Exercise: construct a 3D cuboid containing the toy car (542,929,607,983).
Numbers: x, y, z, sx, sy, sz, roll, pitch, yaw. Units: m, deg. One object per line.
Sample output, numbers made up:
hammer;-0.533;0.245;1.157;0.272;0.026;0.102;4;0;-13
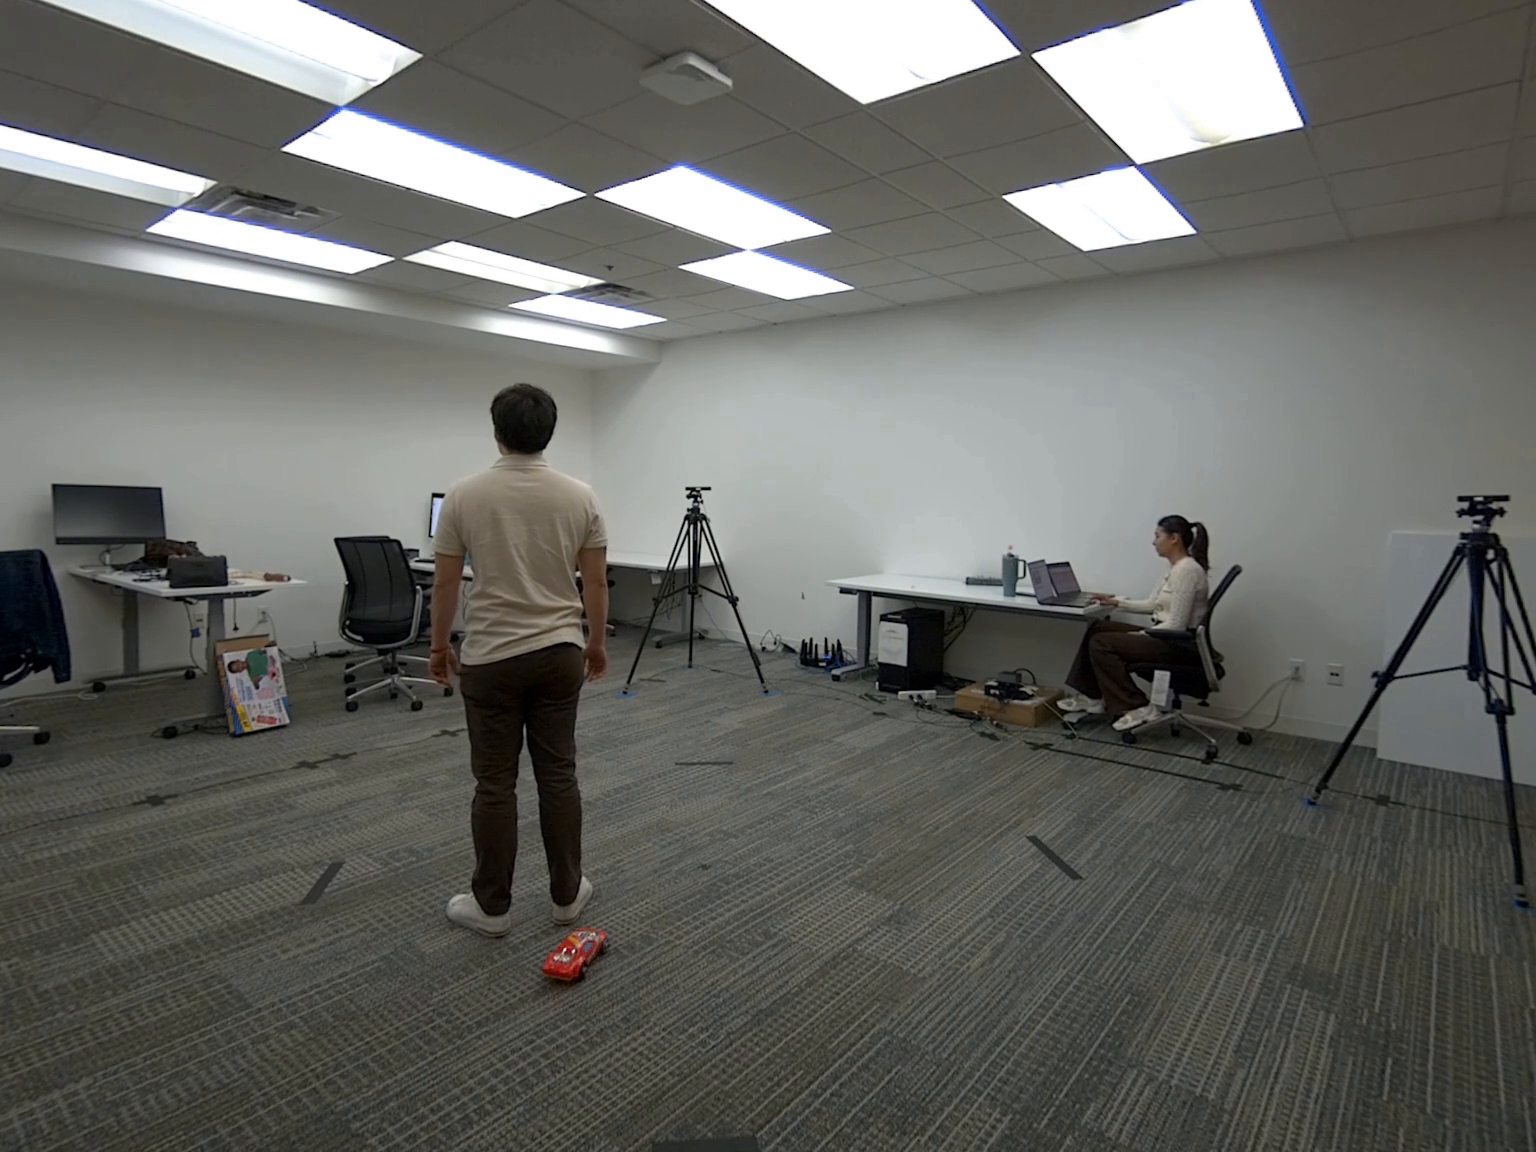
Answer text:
toy car;-0.570;1.096;2.454;0.133;0.084;0.248;3;-5;16
